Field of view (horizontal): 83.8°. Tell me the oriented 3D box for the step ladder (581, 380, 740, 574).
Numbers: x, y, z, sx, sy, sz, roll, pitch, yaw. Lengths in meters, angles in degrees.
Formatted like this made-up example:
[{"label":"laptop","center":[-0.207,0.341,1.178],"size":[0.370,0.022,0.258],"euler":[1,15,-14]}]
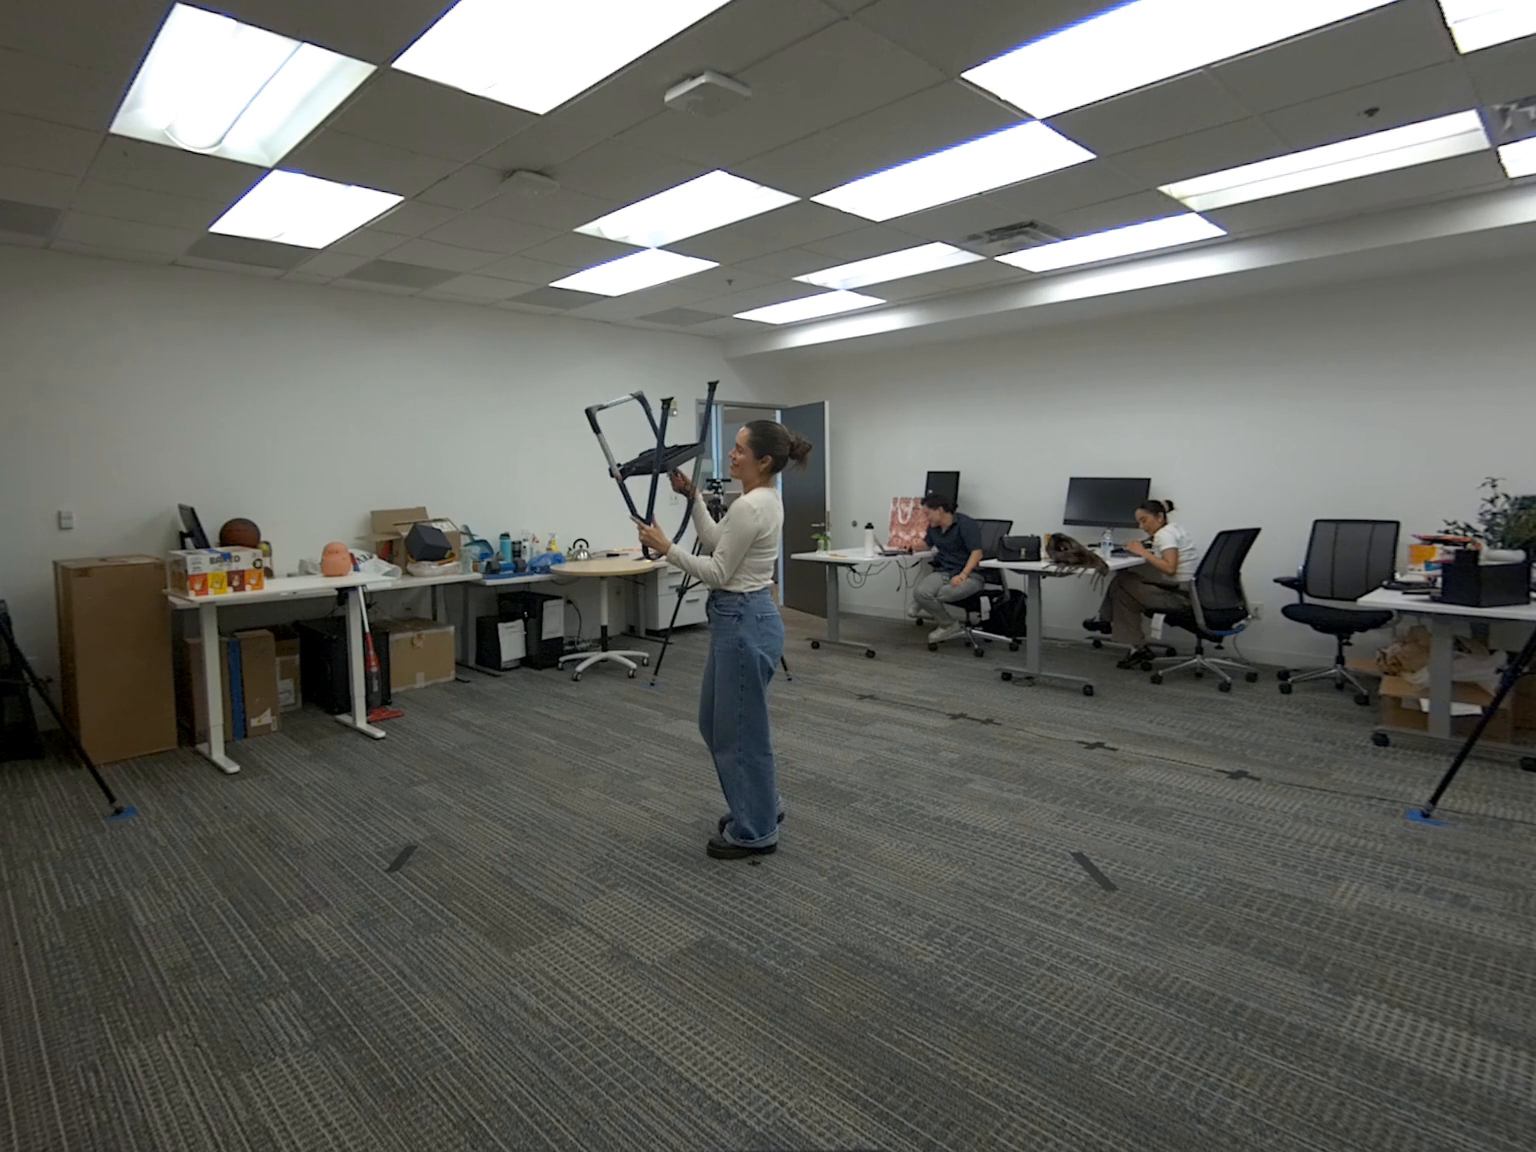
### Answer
[{"label":"step ladder","center":[-0.369,-0.371,3.158],"size":[0.356,0.597,0.428],"euler":[-2,17,23]}]
